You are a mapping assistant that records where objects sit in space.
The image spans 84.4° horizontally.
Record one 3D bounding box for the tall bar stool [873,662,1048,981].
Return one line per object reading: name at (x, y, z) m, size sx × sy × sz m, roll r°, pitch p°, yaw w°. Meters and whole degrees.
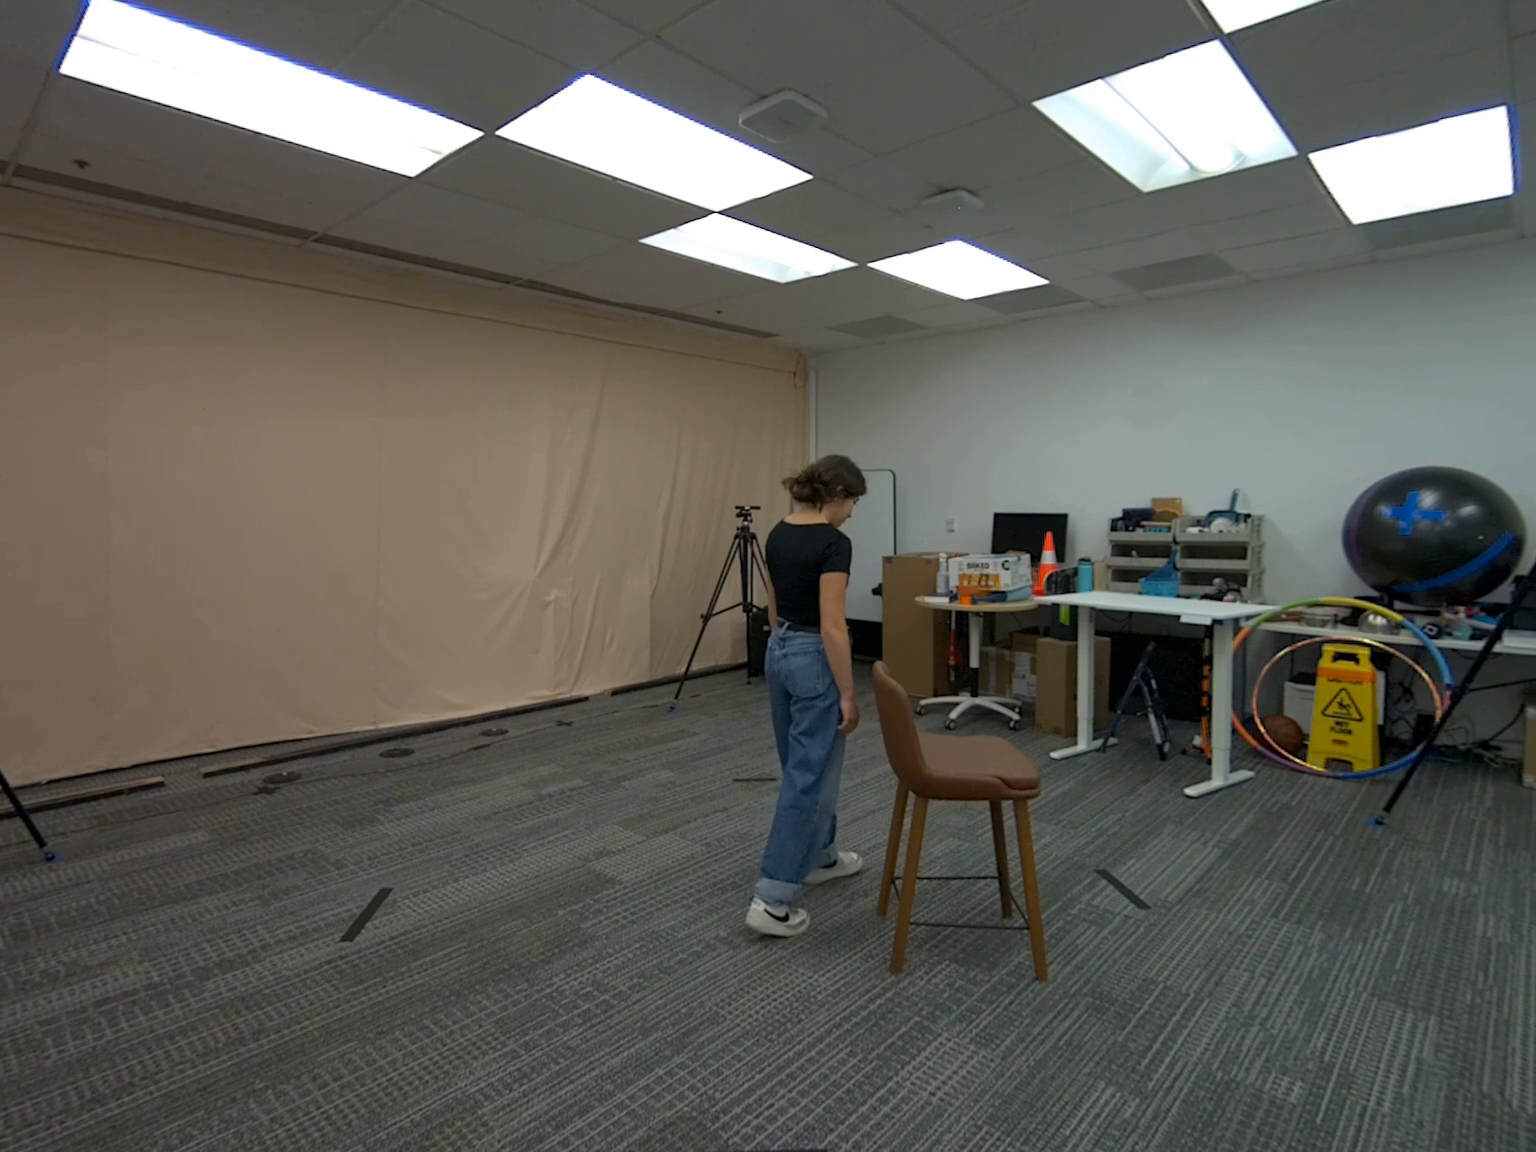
tall bar stool at (0.595, 0.734, 2.652) m, size 0.469 × 0.888 × 0.456 m, roll -2°, pitch 3°, yaw 3°
